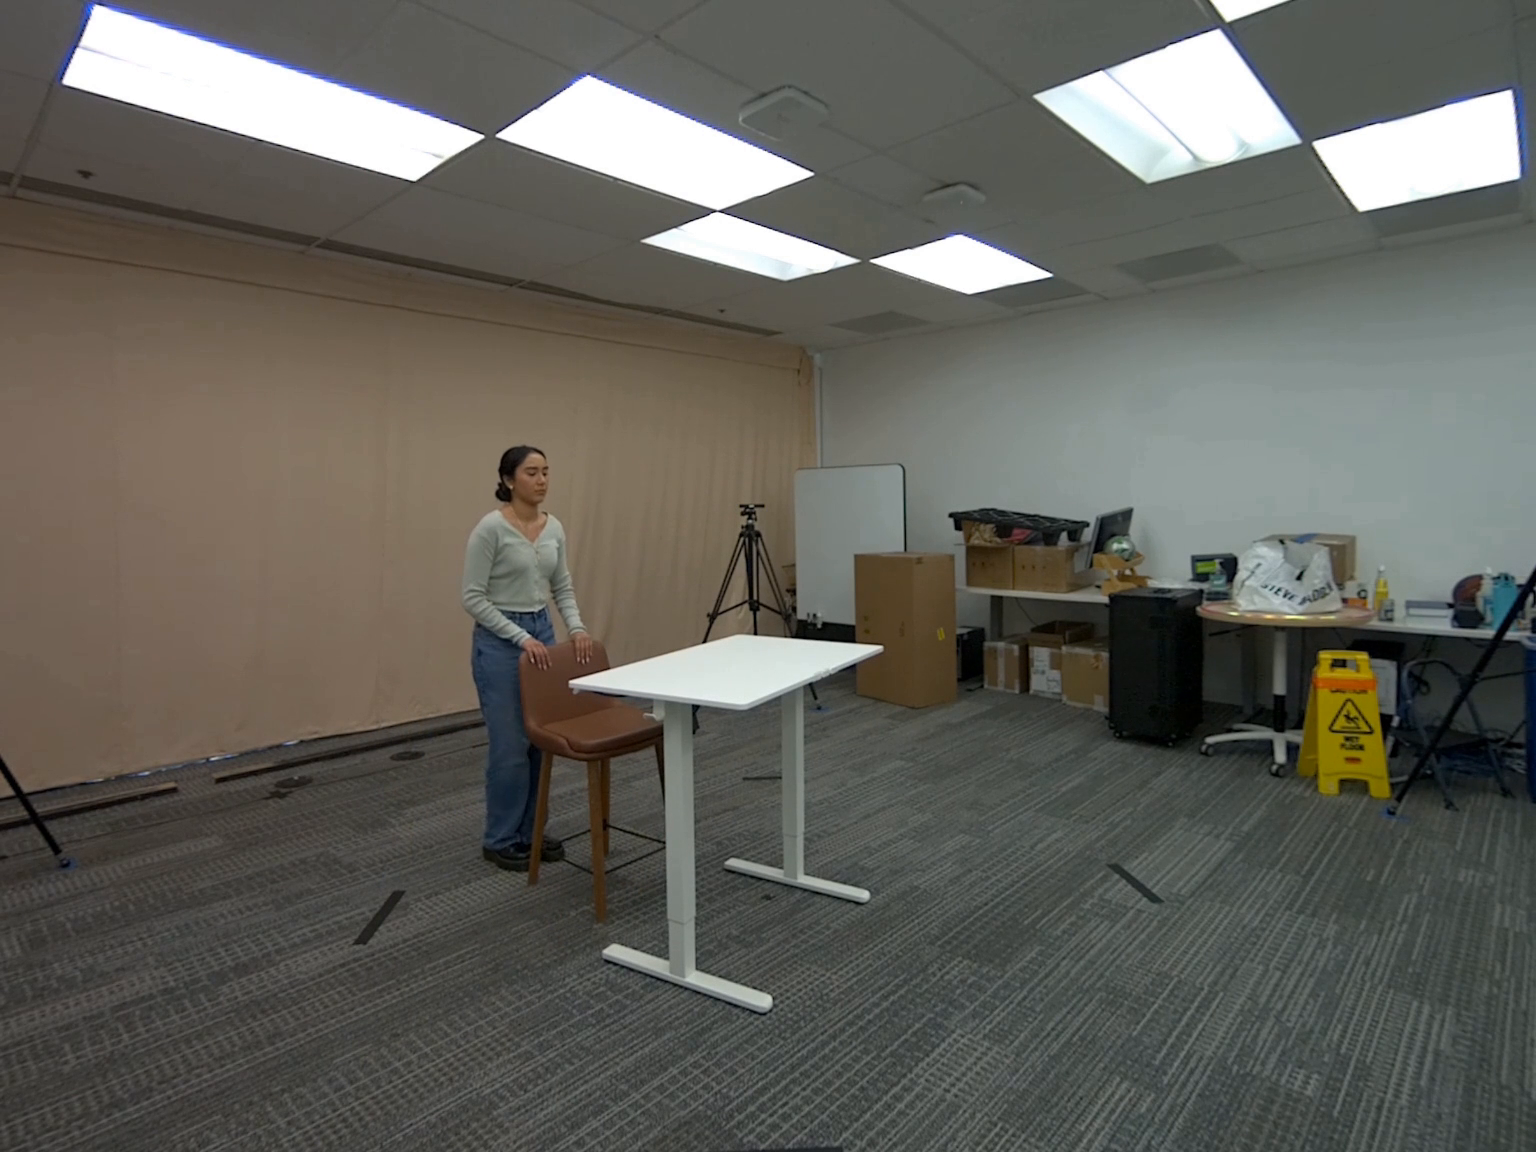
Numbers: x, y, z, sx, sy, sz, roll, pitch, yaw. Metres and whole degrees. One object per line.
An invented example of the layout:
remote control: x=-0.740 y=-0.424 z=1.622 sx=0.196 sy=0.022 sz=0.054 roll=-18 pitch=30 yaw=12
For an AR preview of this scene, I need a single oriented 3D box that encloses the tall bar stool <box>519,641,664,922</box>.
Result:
tall bar stool: x=-0.620 y=0.703 z=3.096 sx=0.482 sy=0.889 sz=0.443 roll=-2 pitch=2 yaw=43
